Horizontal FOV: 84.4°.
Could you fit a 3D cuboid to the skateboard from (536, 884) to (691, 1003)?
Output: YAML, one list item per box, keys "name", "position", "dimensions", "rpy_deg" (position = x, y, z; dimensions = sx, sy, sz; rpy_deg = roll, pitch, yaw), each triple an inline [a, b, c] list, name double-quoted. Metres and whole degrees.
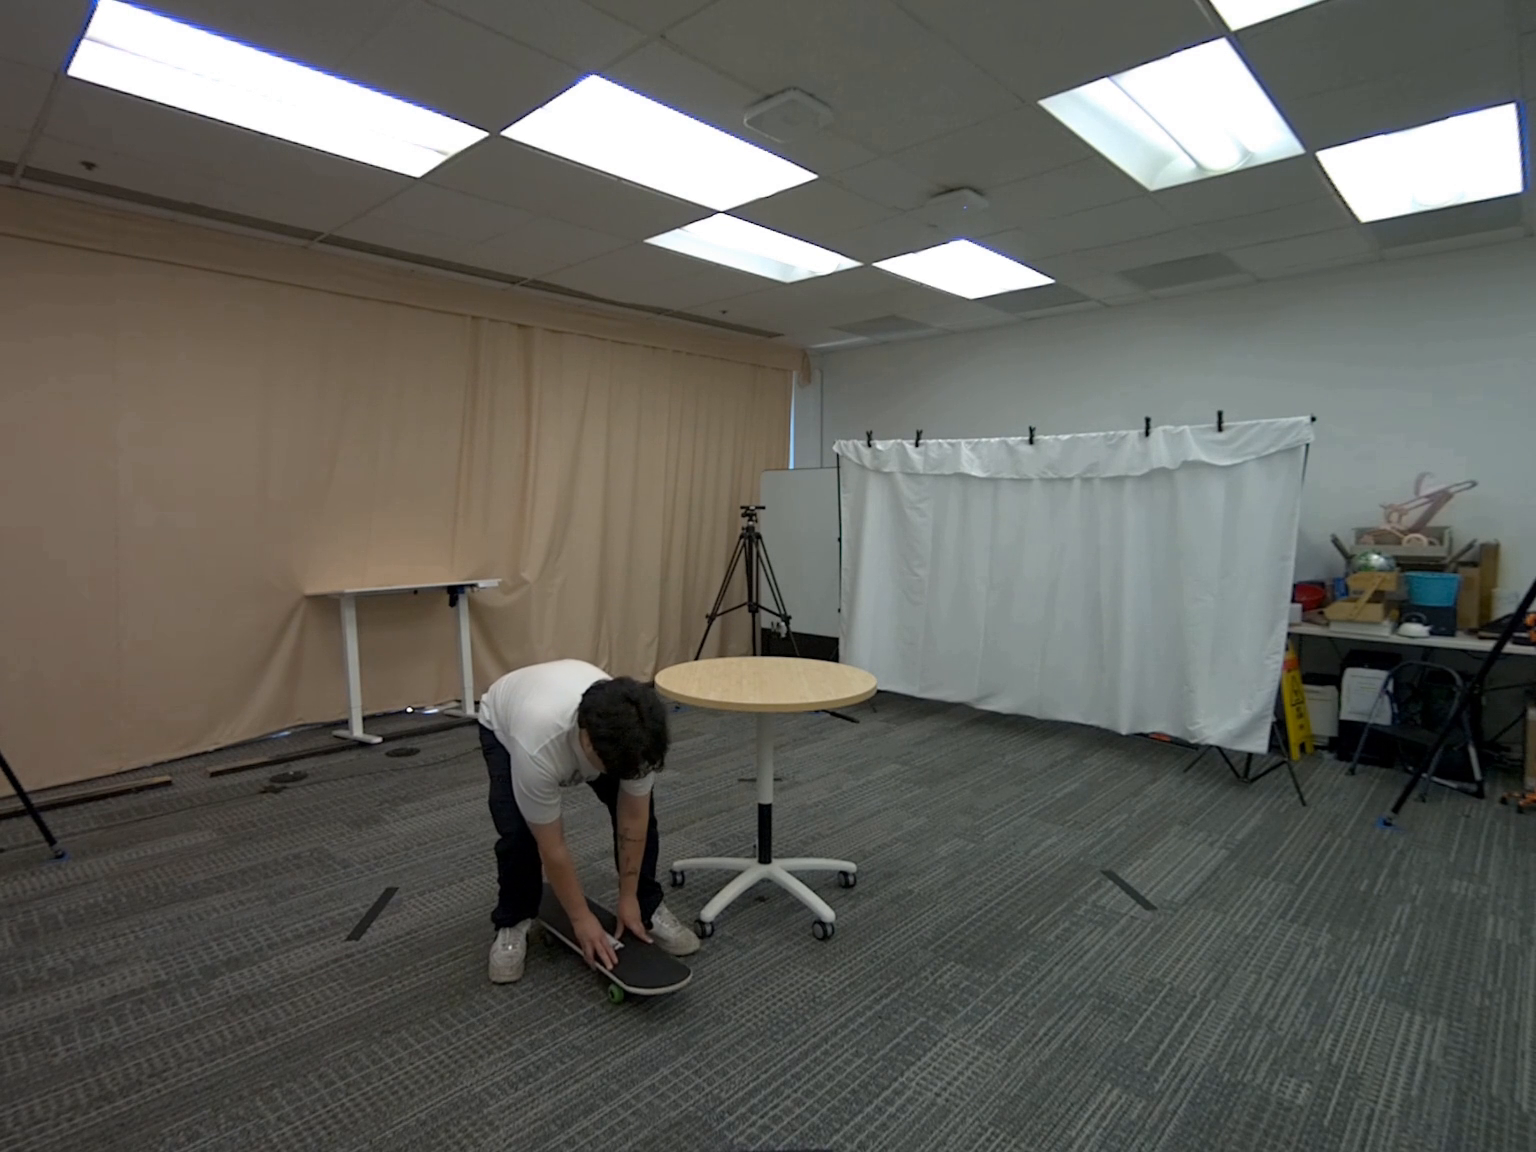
- name: "skateboard"
  position: [-0.502, 1.127, 2.564]
  dimensions: [0.187, 0.110, 0.811]
  rpy_deg: [-3, 5, -40]
